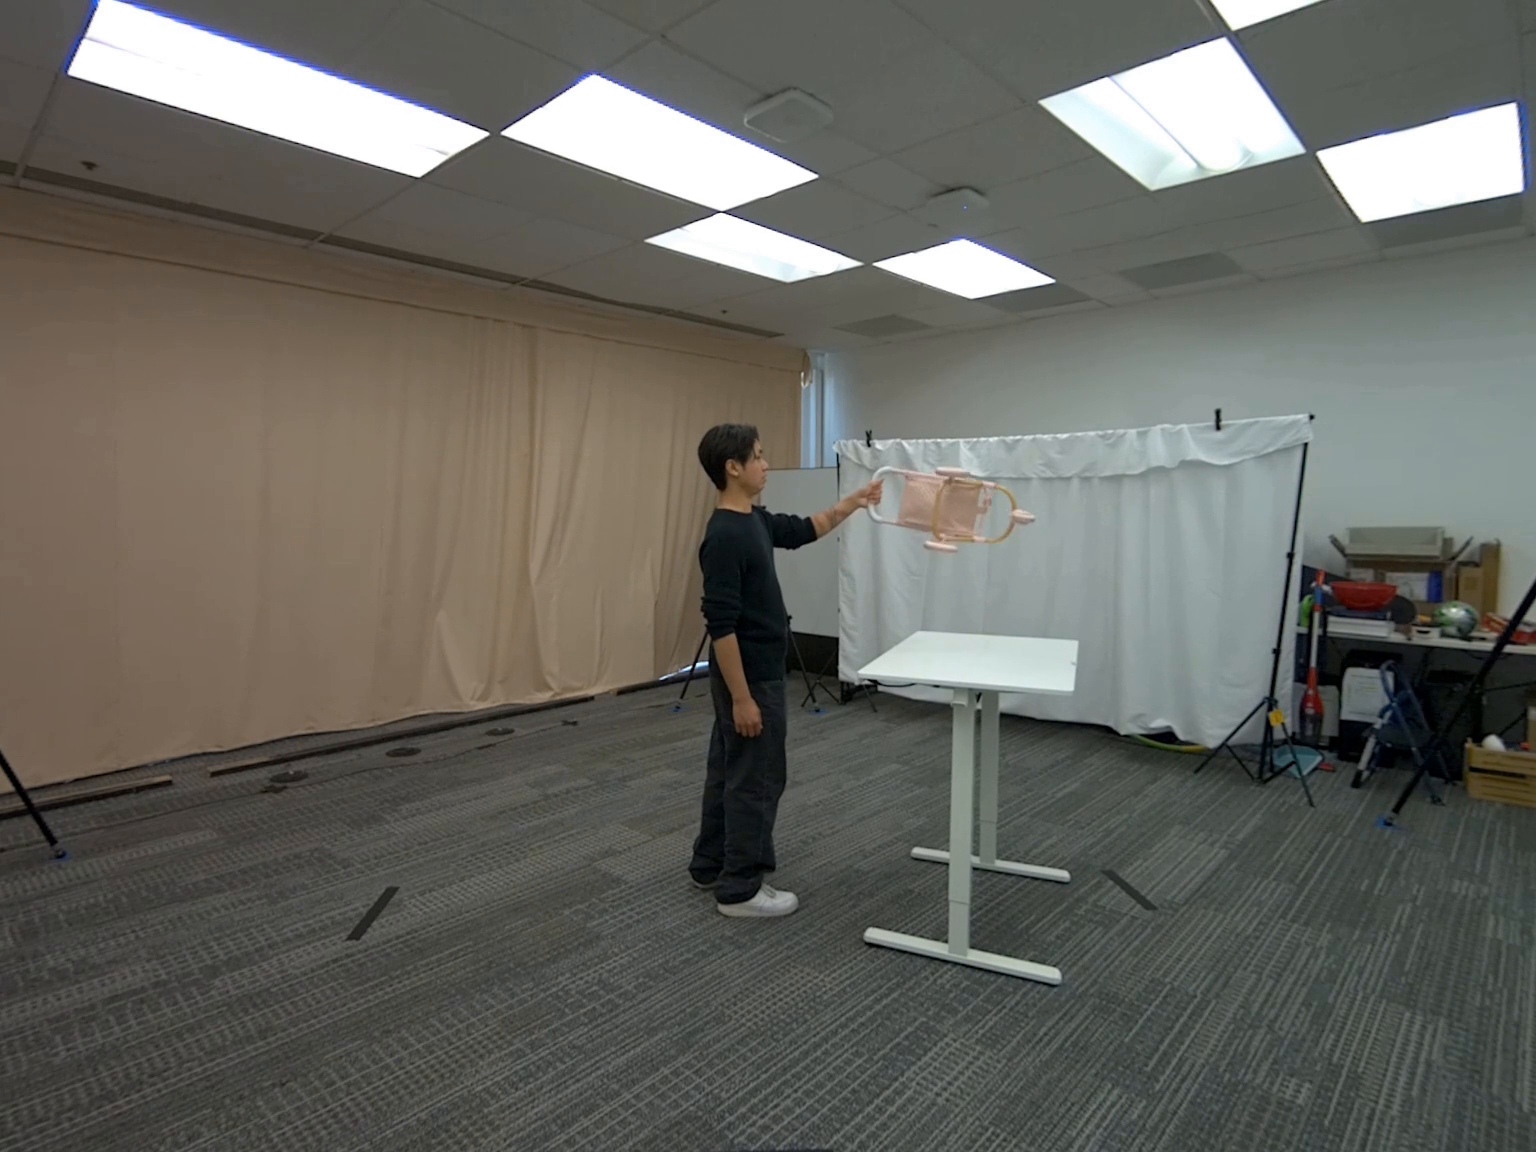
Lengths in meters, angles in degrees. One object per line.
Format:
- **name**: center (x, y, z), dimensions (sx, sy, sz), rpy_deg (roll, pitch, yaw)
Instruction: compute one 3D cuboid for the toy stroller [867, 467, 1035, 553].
- **toy stroller**: center (0.631, -0.245, 2.925), dimensions (0.334, 0.280, 0.549), rpy_deg (1, 10, -21)
